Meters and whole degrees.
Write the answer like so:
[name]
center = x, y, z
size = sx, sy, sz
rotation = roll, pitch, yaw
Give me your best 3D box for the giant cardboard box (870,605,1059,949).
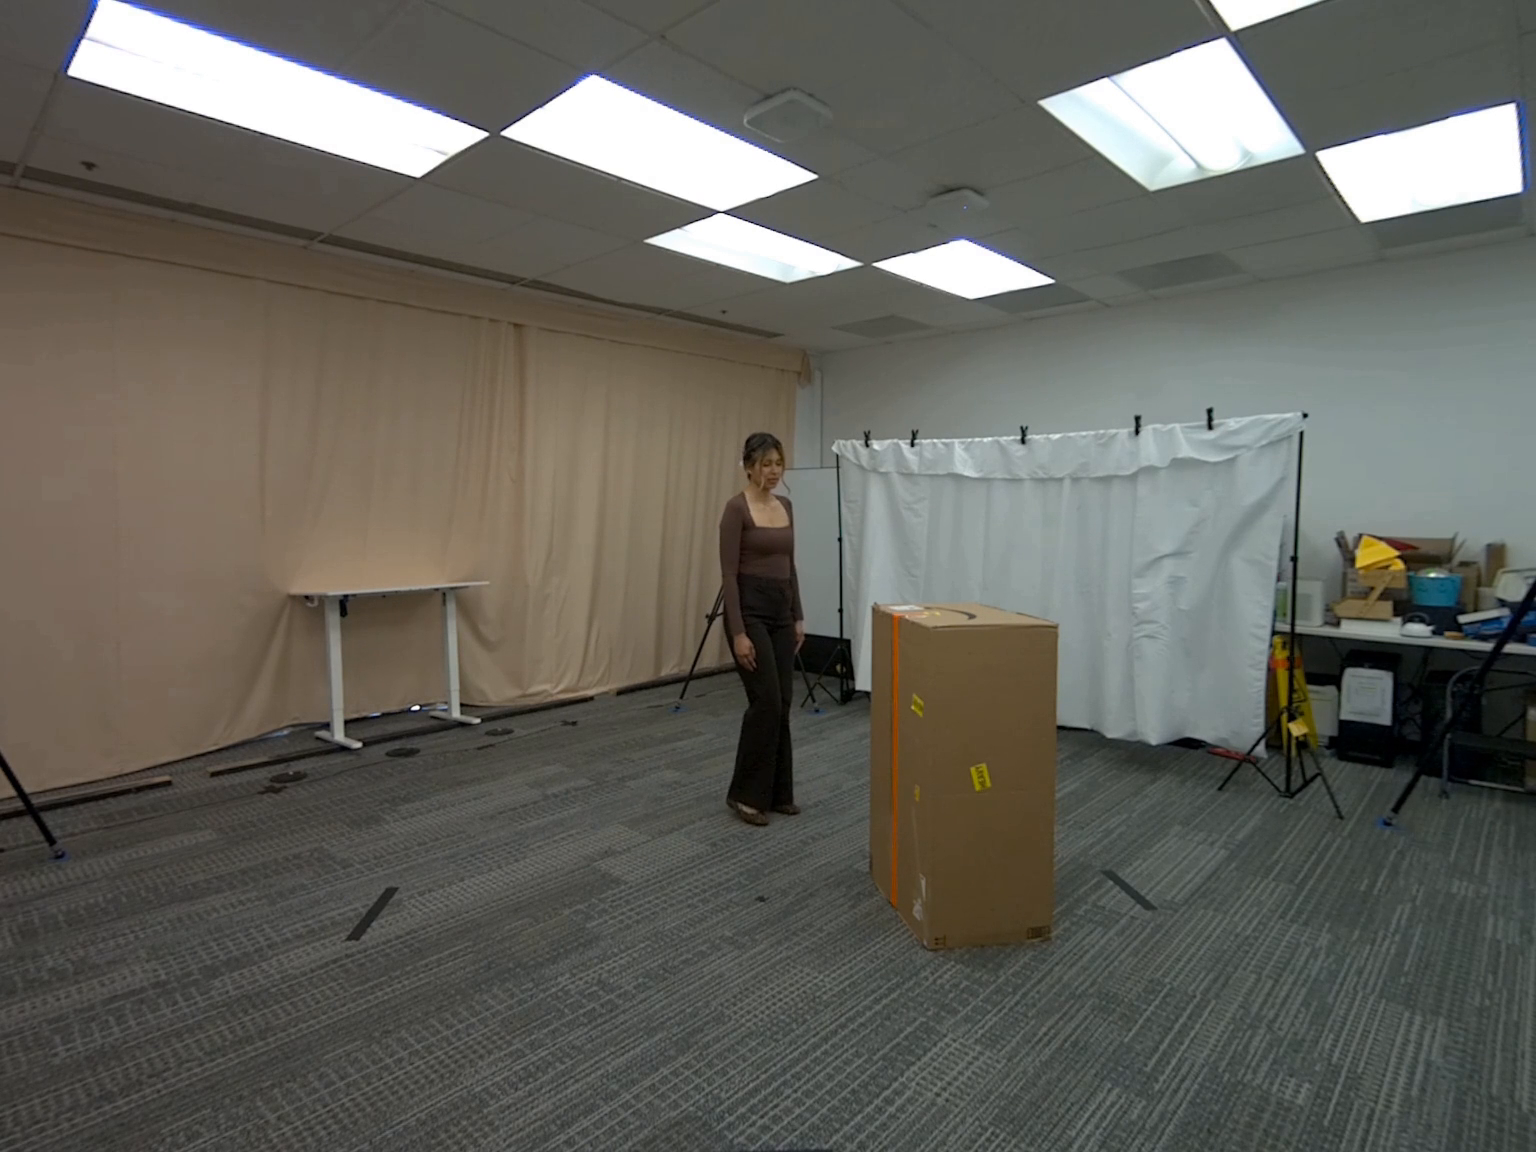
[giant cardboard box]
center = 0.655, 0.639, 2.912
size = 0.441, 1.025, 0.592
rotation = 0, 3, -12
